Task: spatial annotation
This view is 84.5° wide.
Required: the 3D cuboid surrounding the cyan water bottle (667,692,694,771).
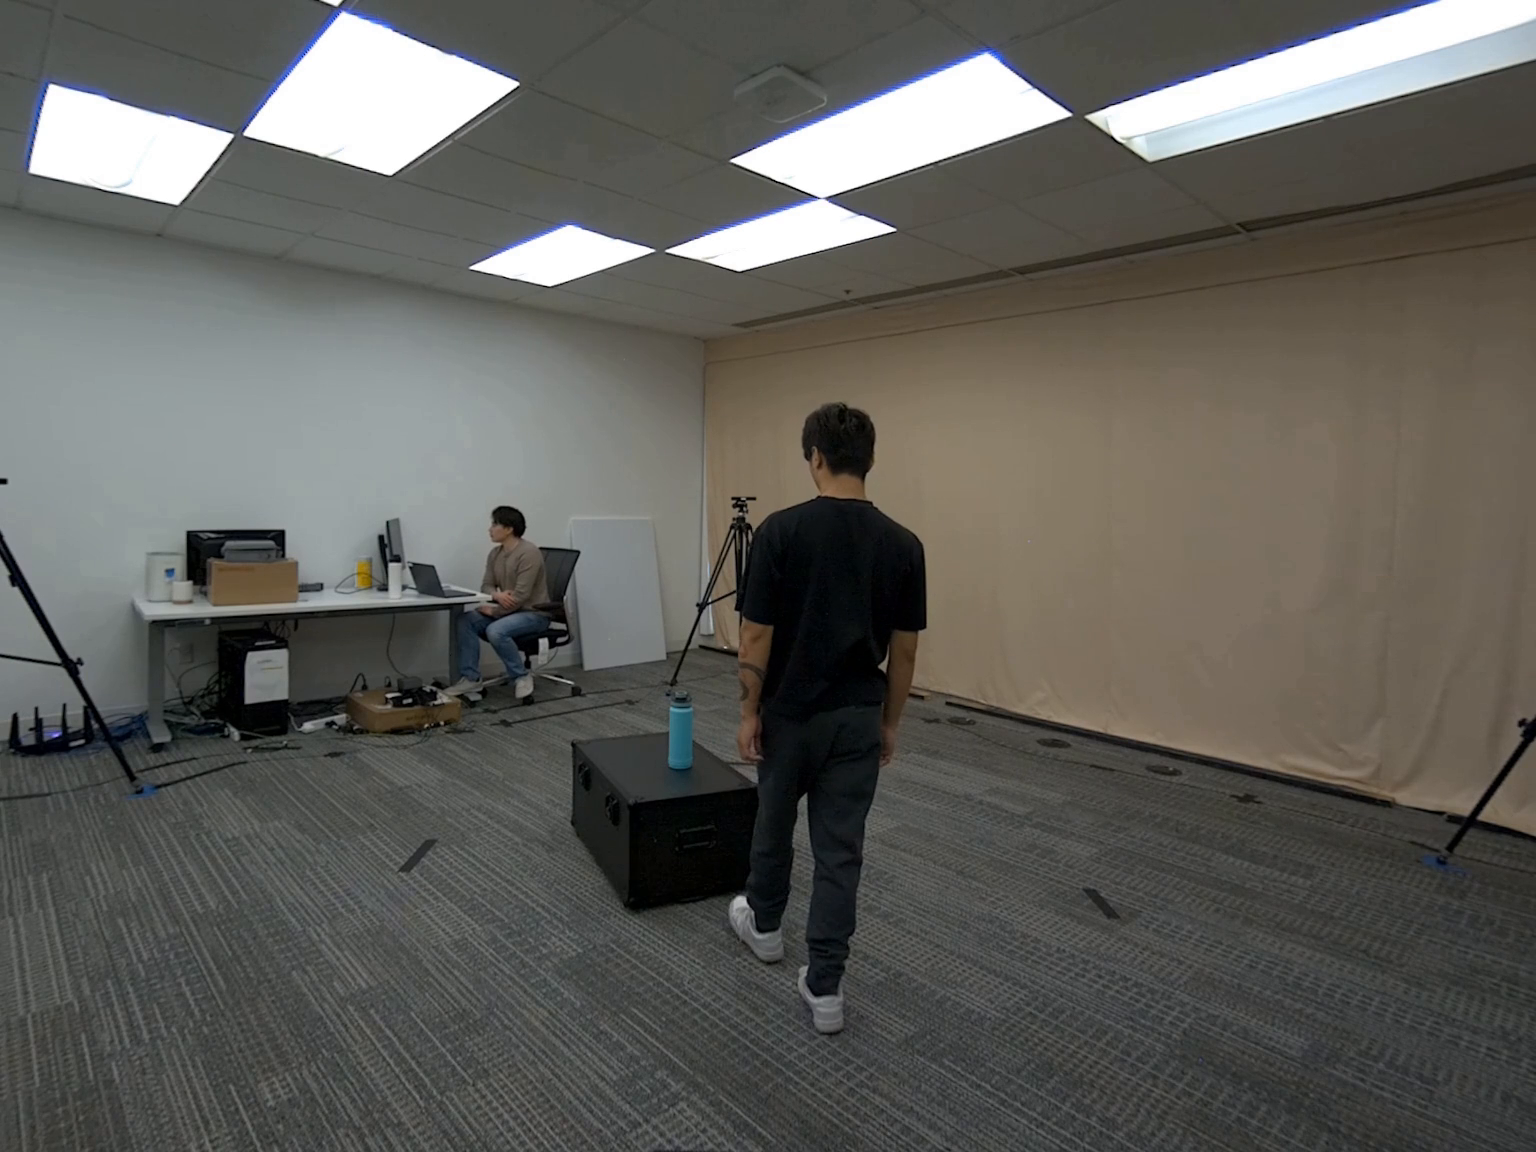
[{"bbox_3d":[-0.341,0.582,3.190,0.092,0.283,0.092,2,1,-1],"label":"cyan water bottle"}]
